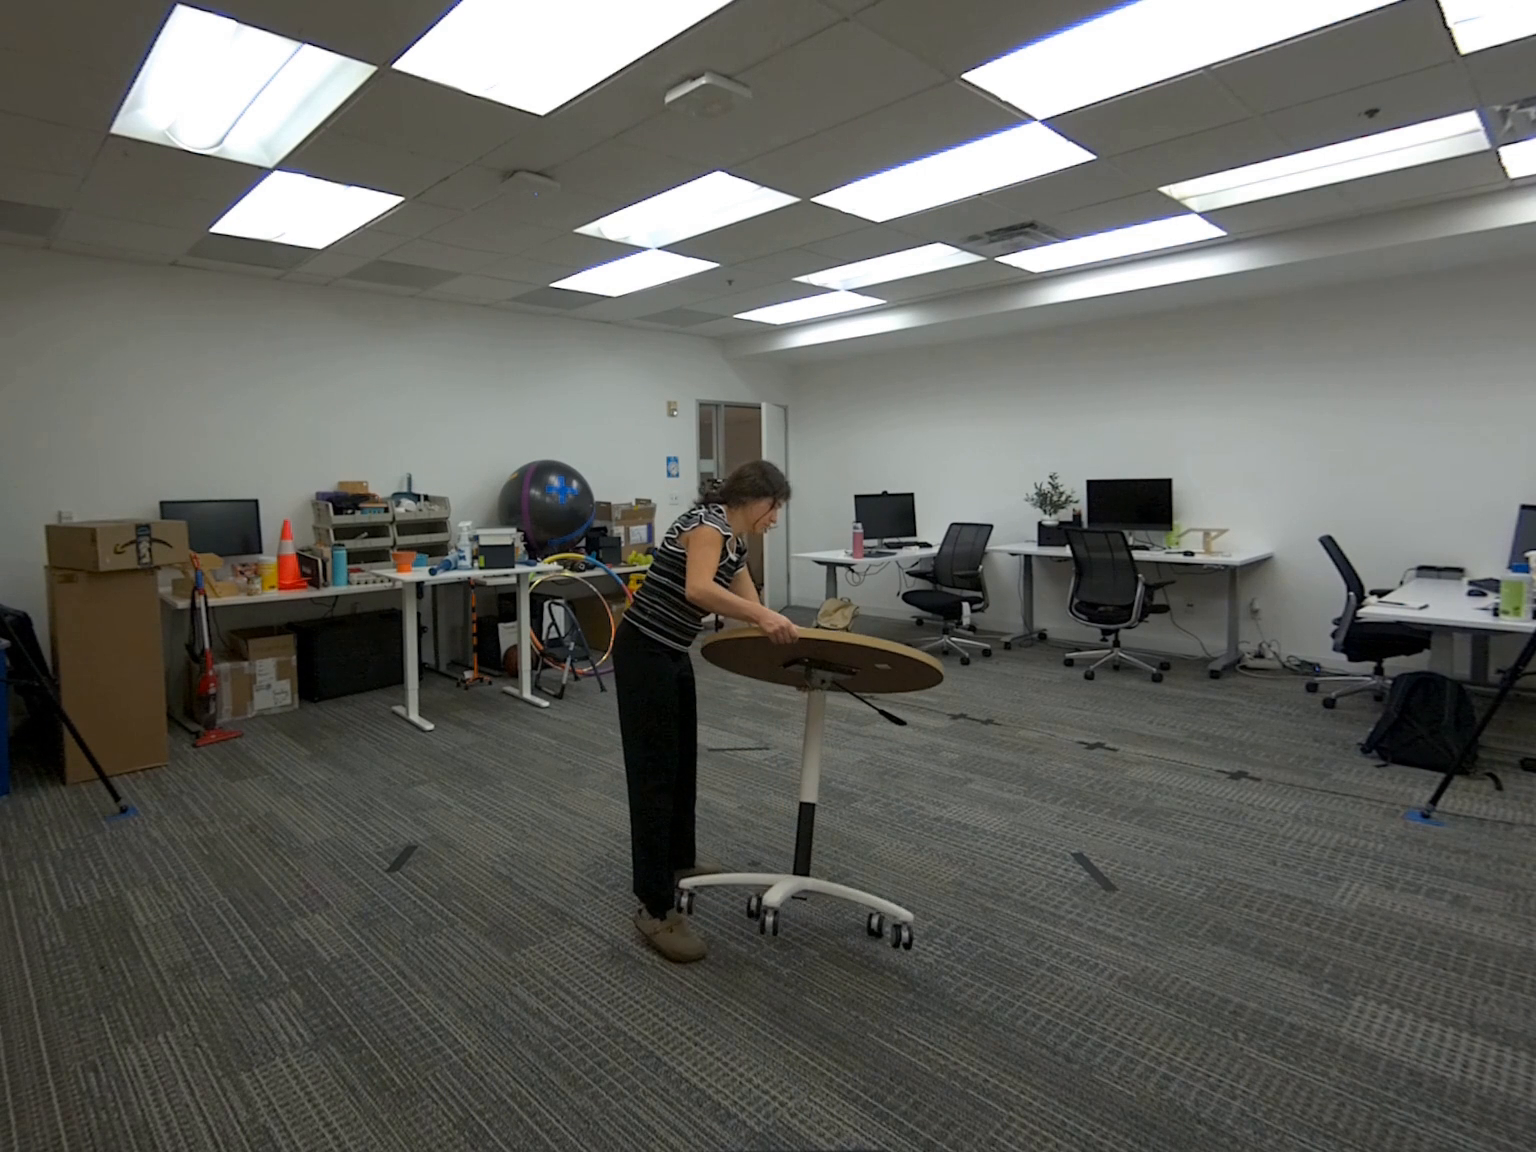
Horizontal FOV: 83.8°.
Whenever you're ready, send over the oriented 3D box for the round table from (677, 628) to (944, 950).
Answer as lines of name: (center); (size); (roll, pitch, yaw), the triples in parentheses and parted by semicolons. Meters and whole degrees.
round table: (0.125, 0.640, 2.572); (0.765, 0.805, 0.752); (7, -18, 1)
